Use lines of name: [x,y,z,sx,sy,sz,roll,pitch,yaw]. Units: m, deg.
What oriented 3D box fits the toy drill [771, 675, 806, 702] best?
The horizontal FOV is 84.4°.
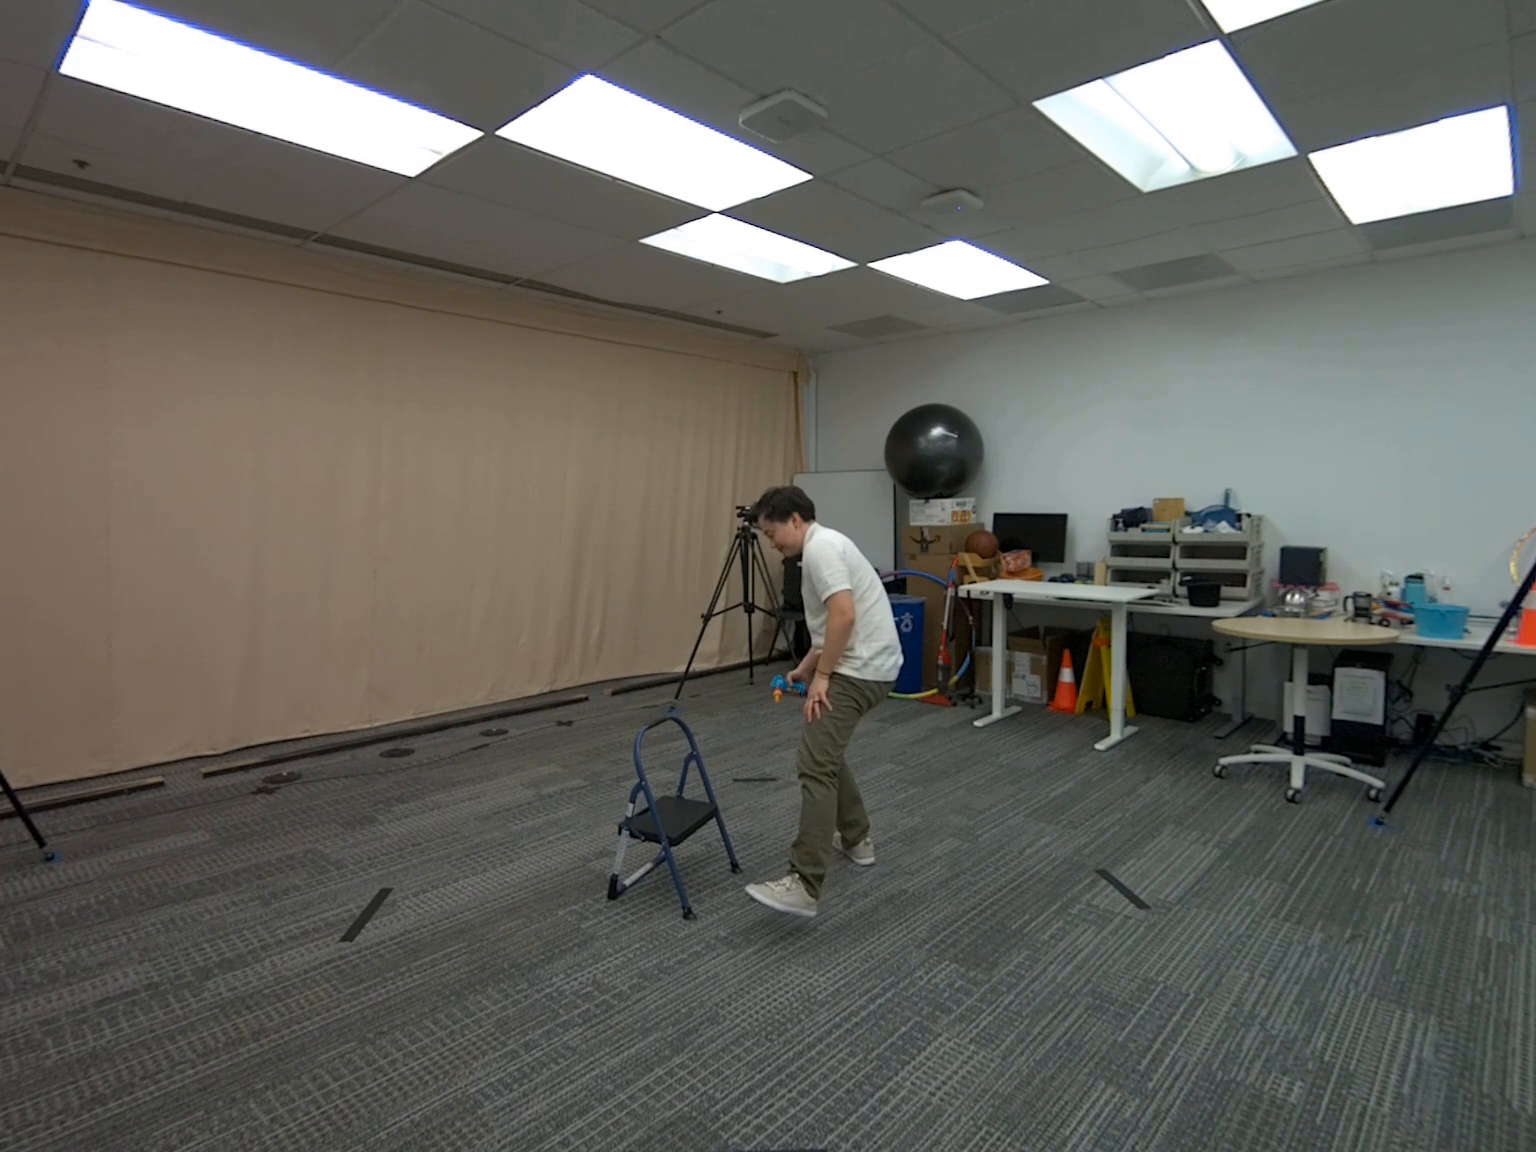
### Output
toy drill: [0.086,0.475,3.398,0.146,0.060,0.171,13,28,1]
